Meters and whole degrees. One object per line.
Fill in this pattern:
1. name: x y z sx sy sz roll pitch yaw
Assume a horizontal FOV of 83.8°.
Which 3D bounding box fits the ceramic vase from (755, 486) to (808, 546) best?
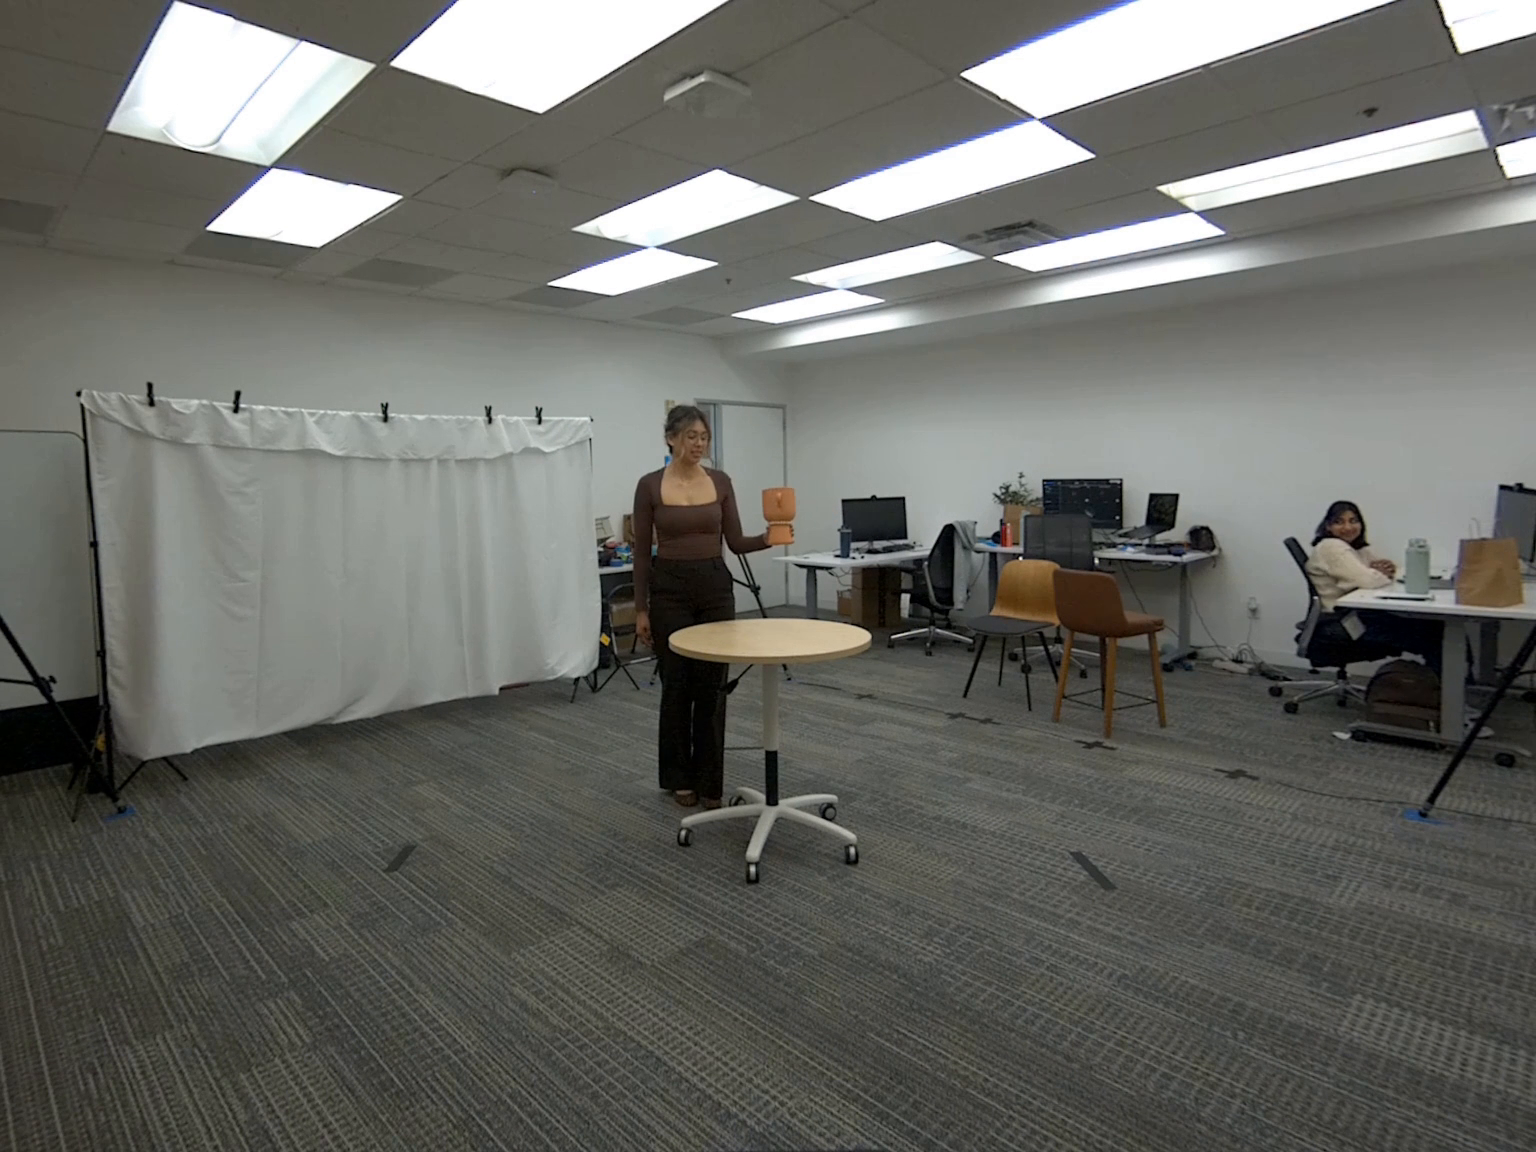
1. ceramic vase: 0.053 -0.241 3.454 0.138 0.220 0.154 -4 -5 45
